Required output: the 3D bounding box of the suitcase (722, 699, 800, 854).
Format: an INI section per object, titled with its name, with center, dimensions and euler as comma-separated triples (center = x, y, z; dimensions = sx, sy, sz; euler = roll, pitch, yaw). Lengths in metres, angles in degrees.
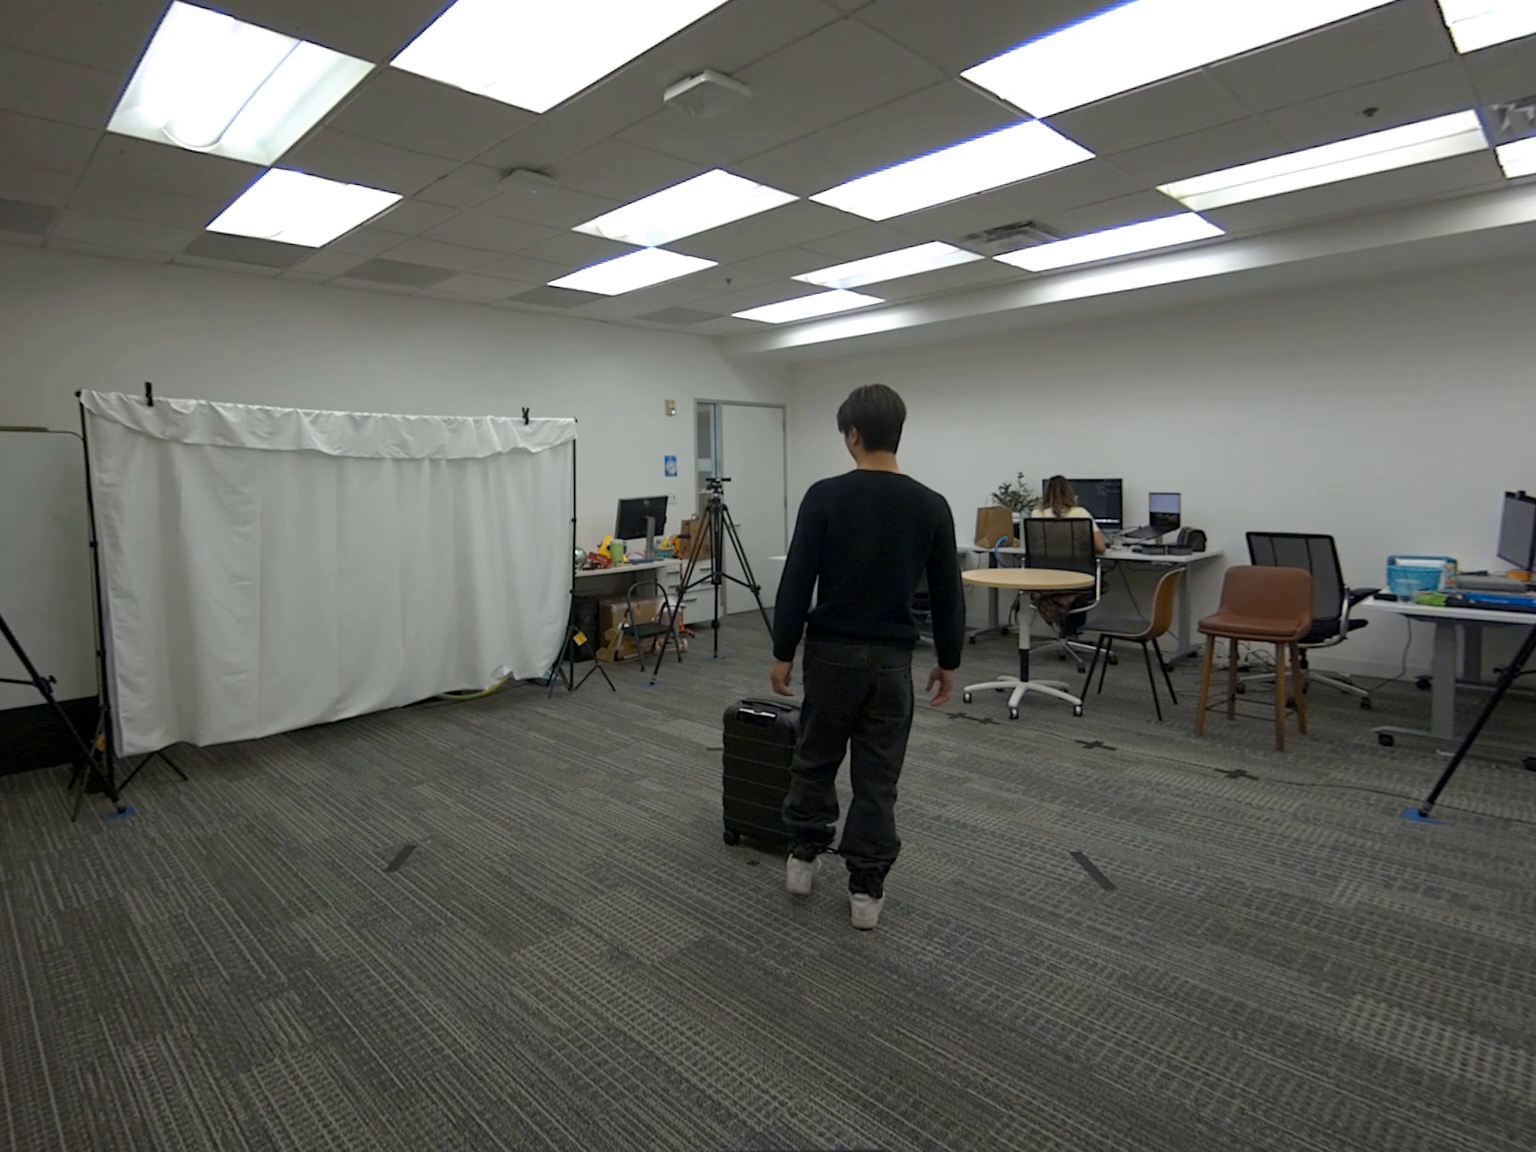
[suitcase]
center = 0.021, 0.748, 3.271
dimensions = 0.386, 0.548, 0.242
euler = 1, 3, 35
